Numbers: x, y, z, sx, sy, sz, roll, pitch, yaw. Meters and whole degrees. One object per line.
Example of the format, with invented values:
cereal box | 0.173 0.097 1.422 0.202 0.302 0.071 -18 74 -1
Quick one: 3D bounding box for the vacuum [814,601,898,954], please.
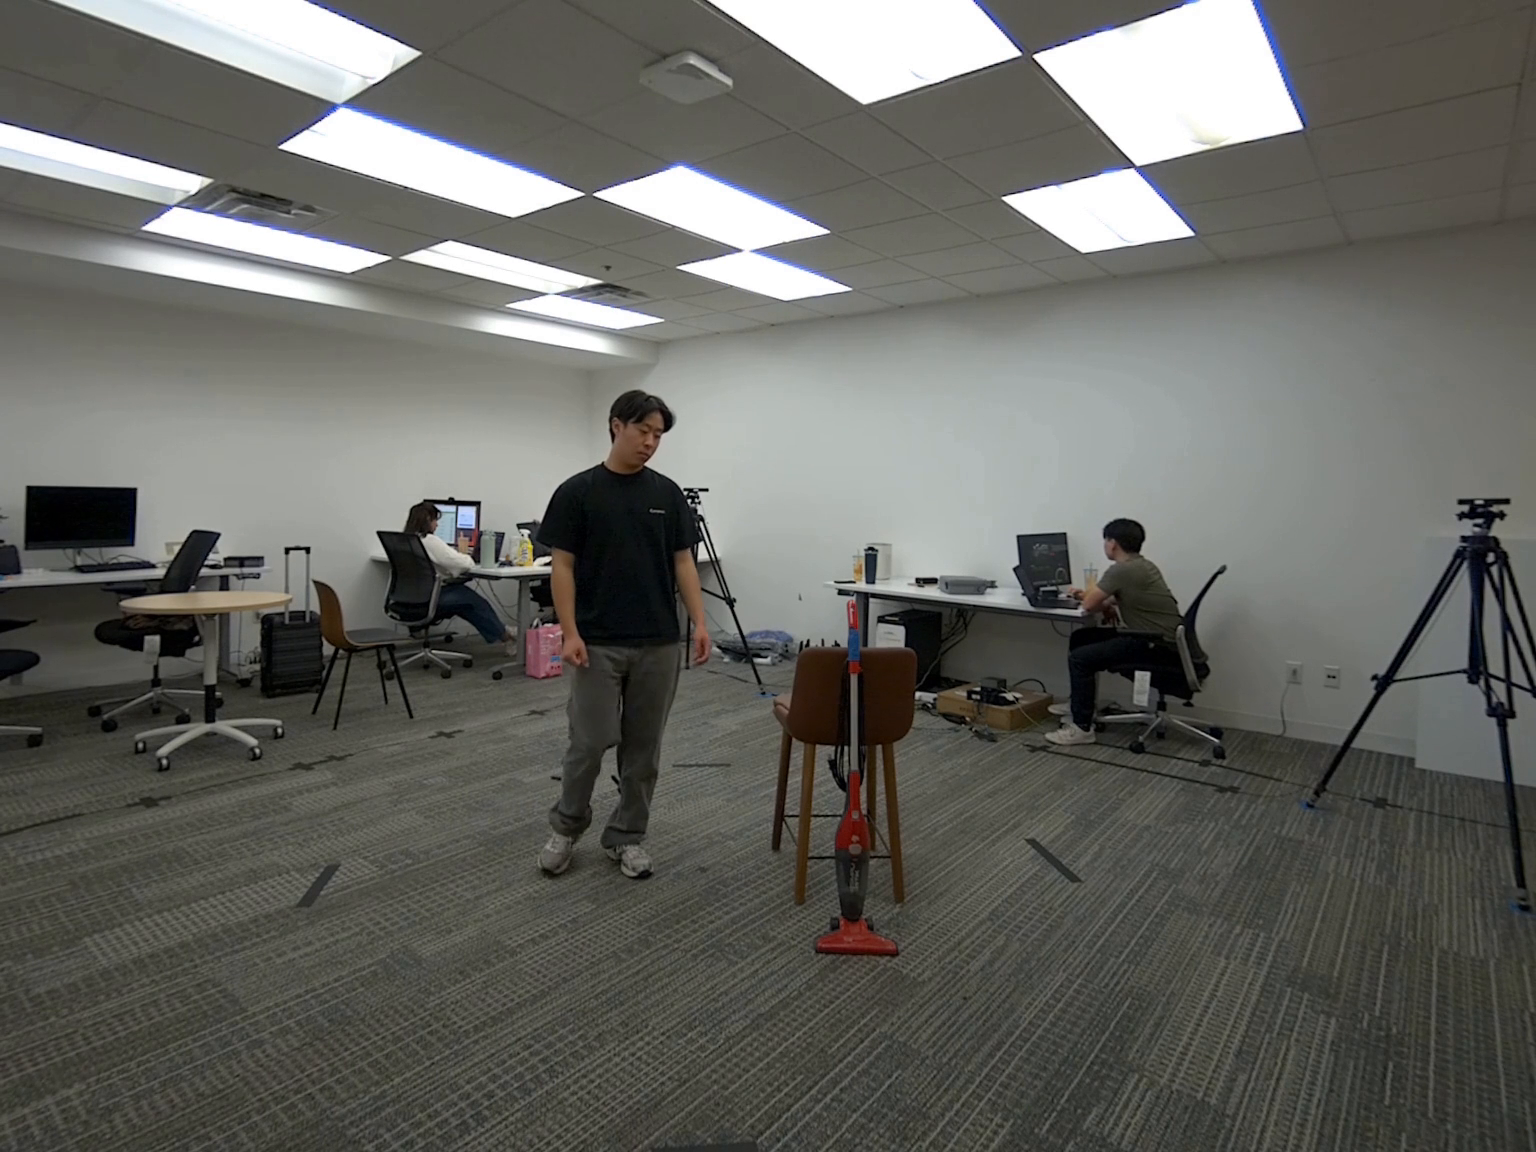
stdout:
vacuum | 0.264 0.606 2.711 0.251 1.059 0.143 1 -10 -5
